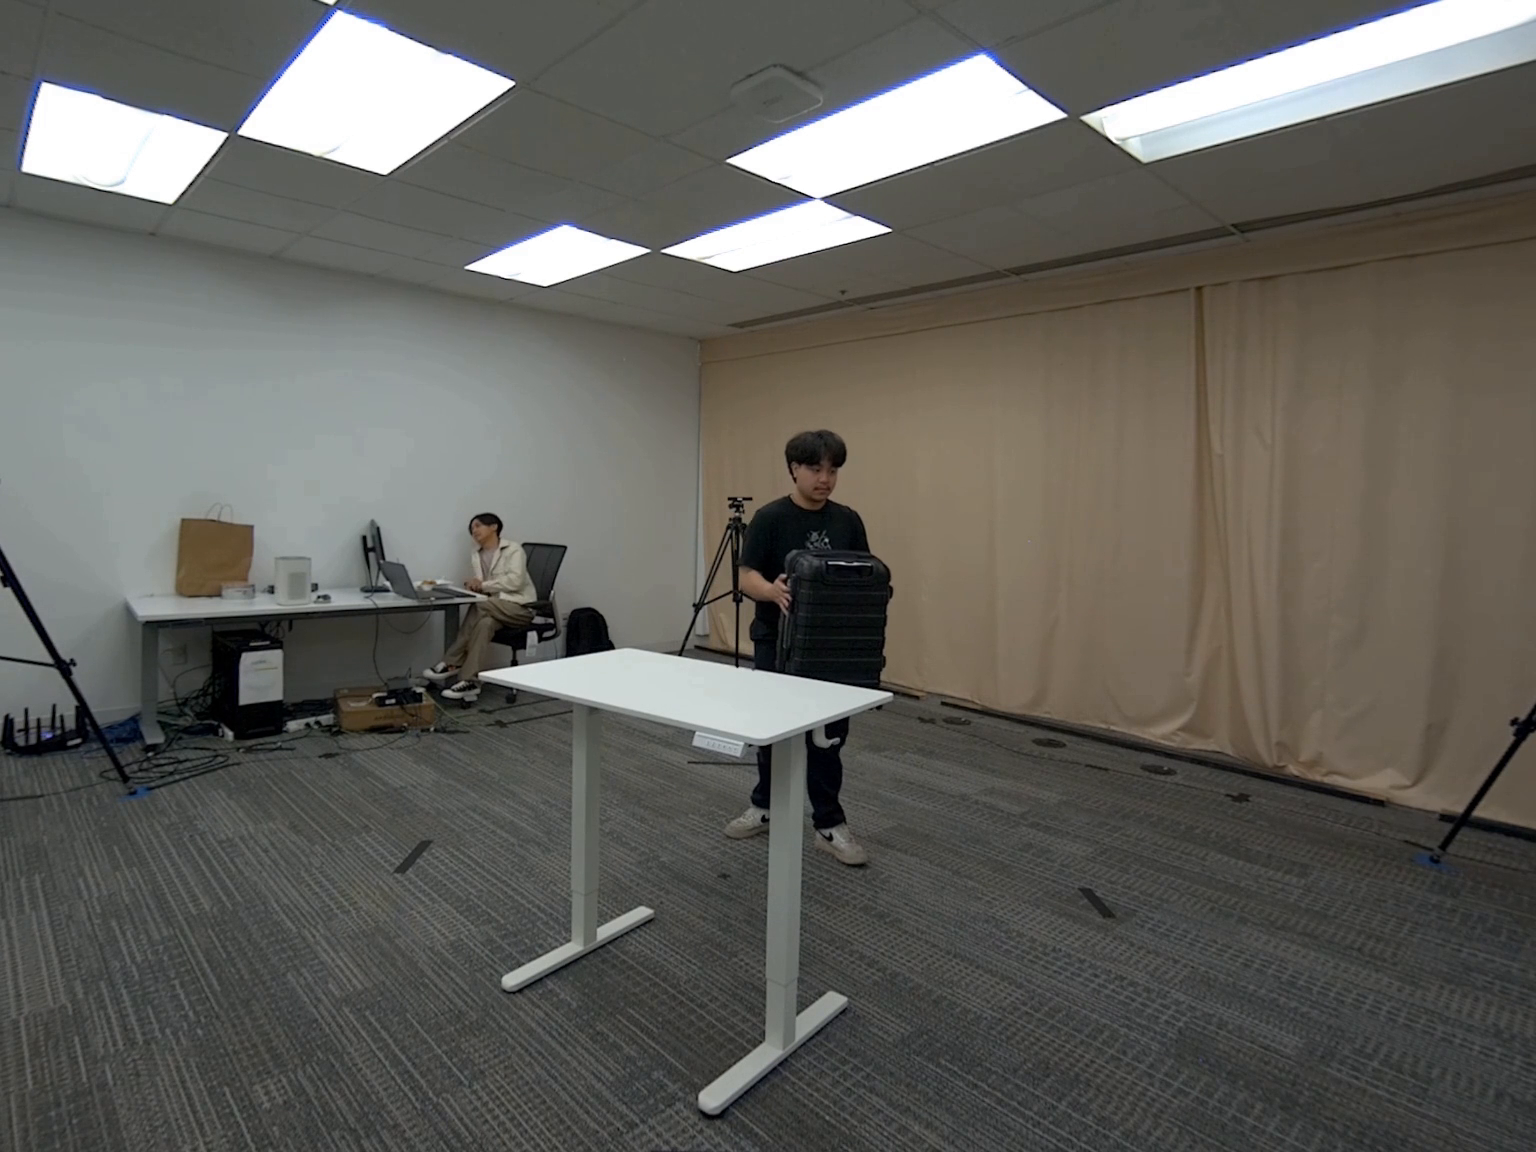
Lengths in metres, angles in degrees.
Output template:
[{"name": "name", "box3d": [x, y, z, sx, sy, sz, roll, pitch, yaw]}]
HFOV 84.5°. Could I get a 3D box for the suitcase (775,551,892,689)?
[{"name": "suitcase", "box3d": [0.220, 0.173, 3.048, 0.371, 0.546, 0.253, 1, 10, -15]}]
